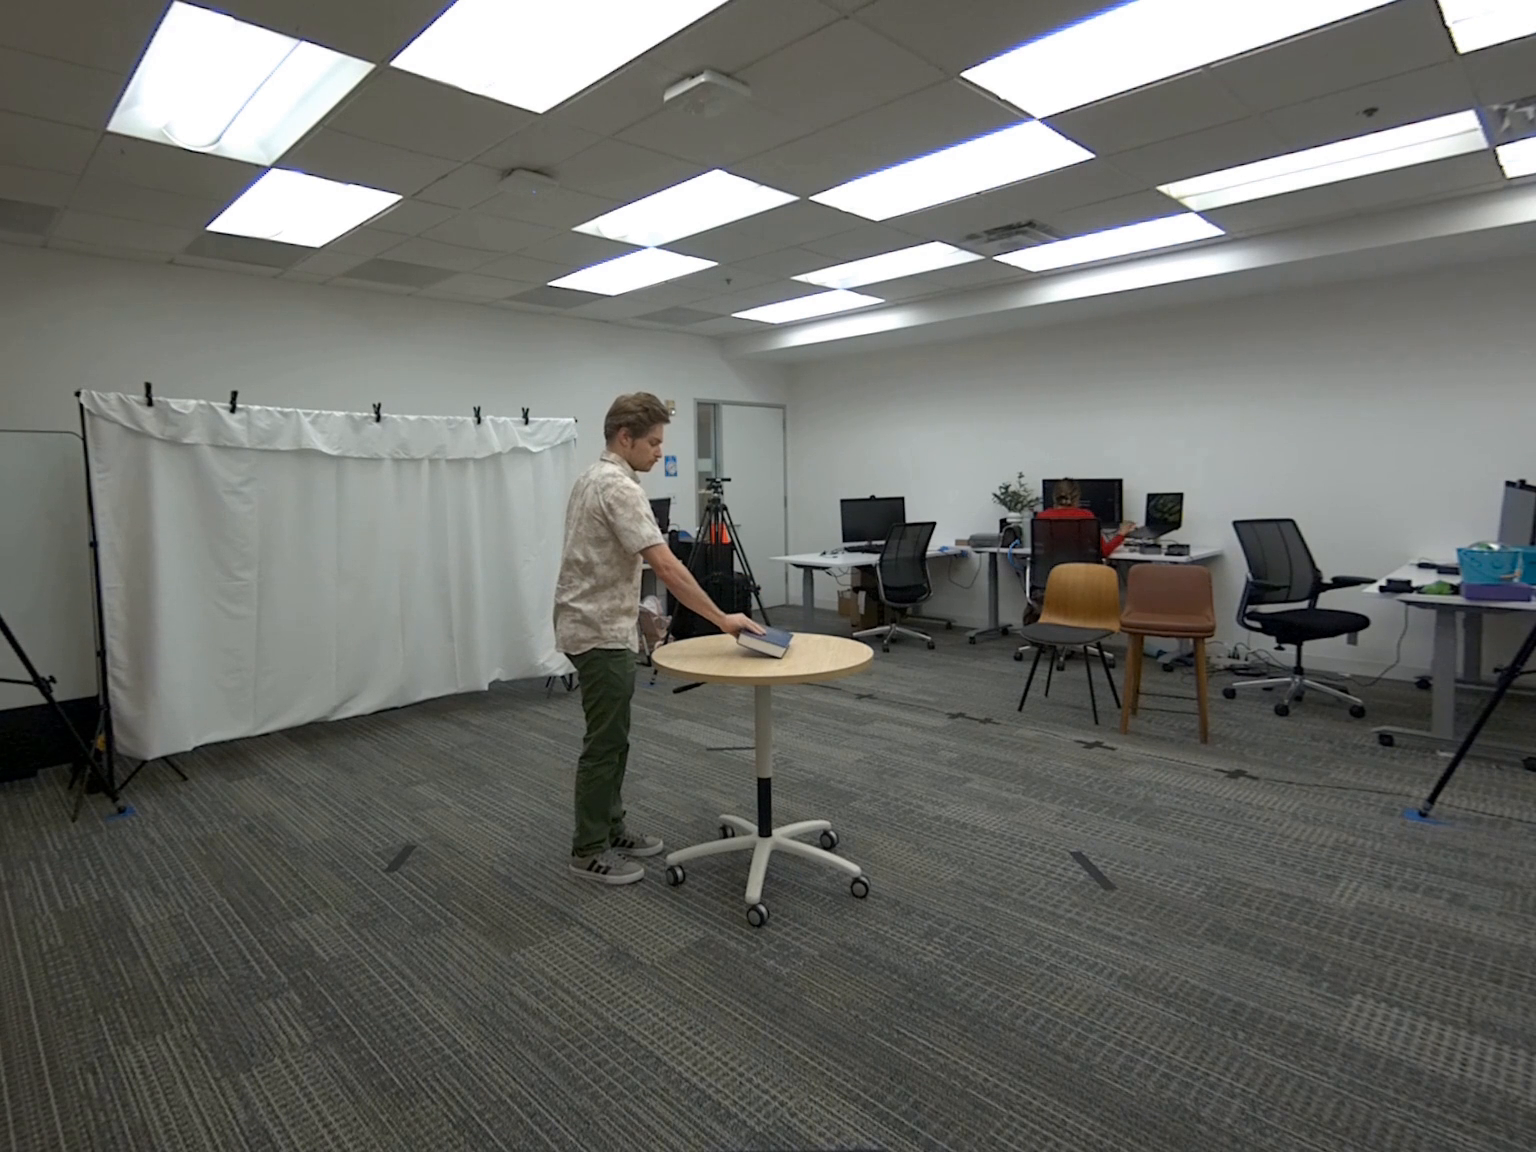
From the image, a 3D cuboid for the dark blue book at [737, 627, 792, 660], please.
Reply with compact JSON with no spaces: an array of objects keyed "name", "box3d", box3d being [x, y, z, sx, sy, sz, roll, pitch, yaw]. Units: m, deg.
[{"name":"dark blue book","box3d":[-0.006,0.211,2.973,0.165,0.045,0.243,17,7,7]}]
